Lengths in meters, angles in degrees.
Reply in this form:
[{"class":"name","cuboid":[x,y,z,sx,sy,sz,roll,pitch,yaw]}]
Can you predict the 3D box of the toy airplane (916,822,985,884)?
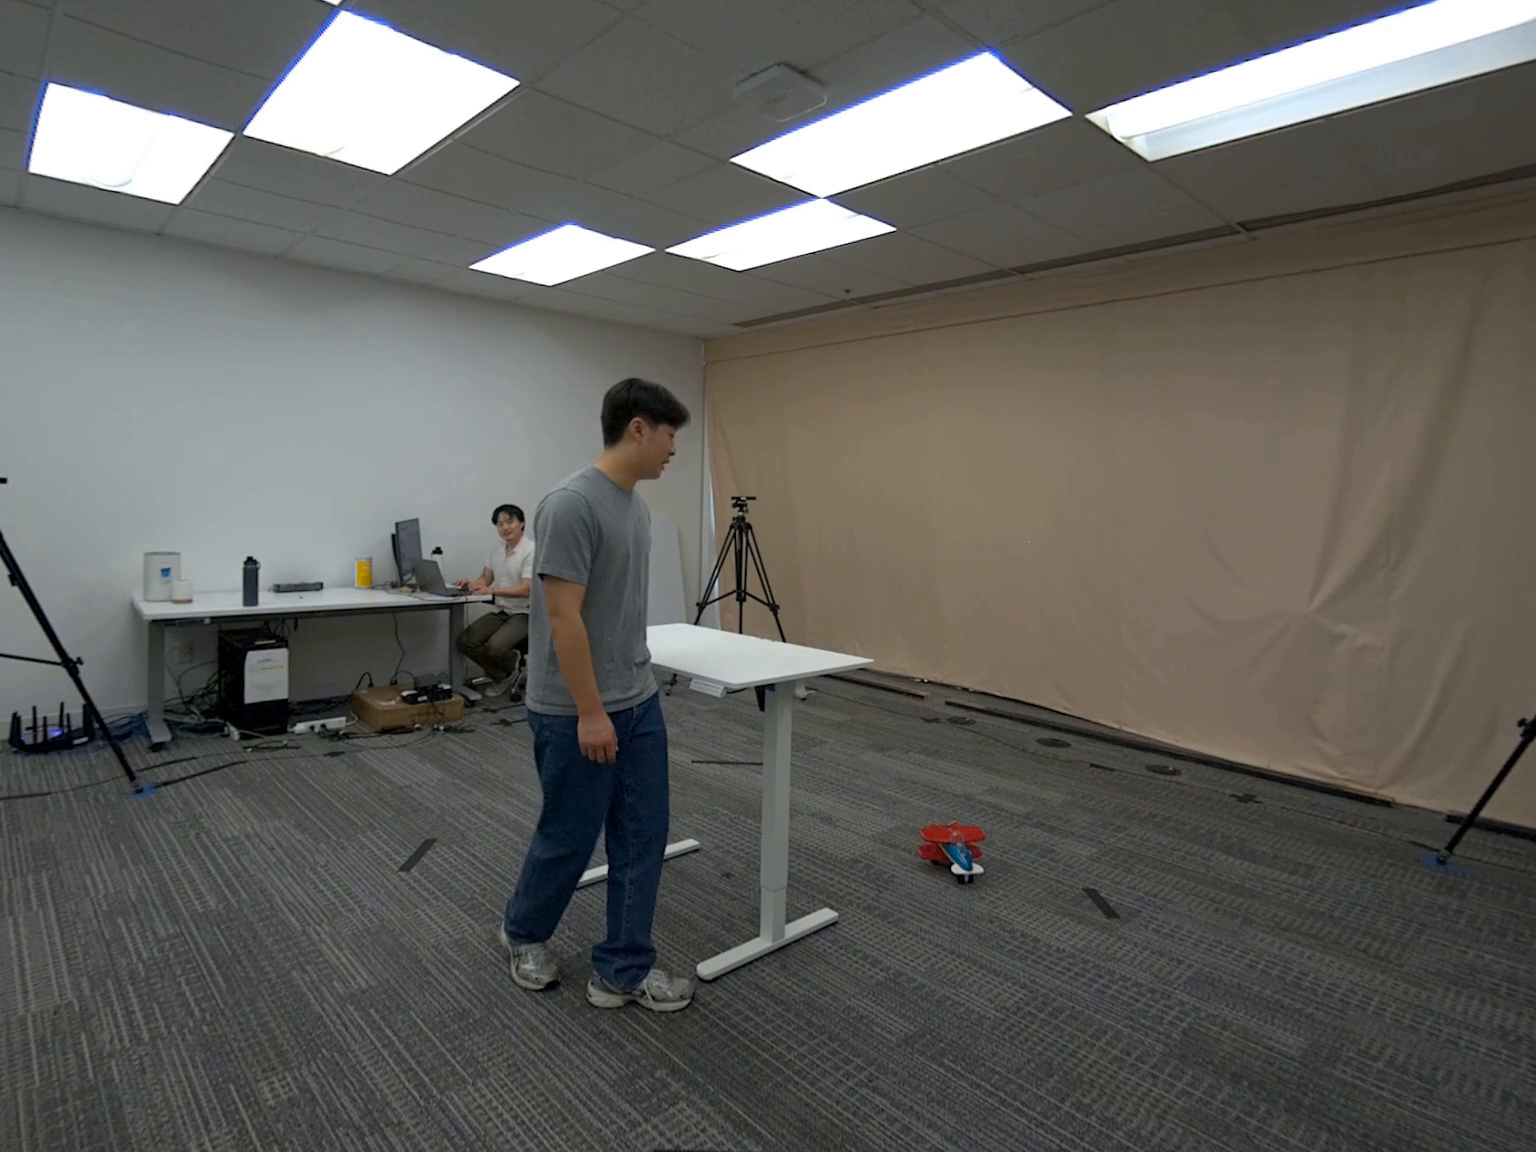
[{"class":"toy airplane","cuboid":[0.722,1.049,3.187,0.245,0.156,0.266,-2,5,-40]}]
